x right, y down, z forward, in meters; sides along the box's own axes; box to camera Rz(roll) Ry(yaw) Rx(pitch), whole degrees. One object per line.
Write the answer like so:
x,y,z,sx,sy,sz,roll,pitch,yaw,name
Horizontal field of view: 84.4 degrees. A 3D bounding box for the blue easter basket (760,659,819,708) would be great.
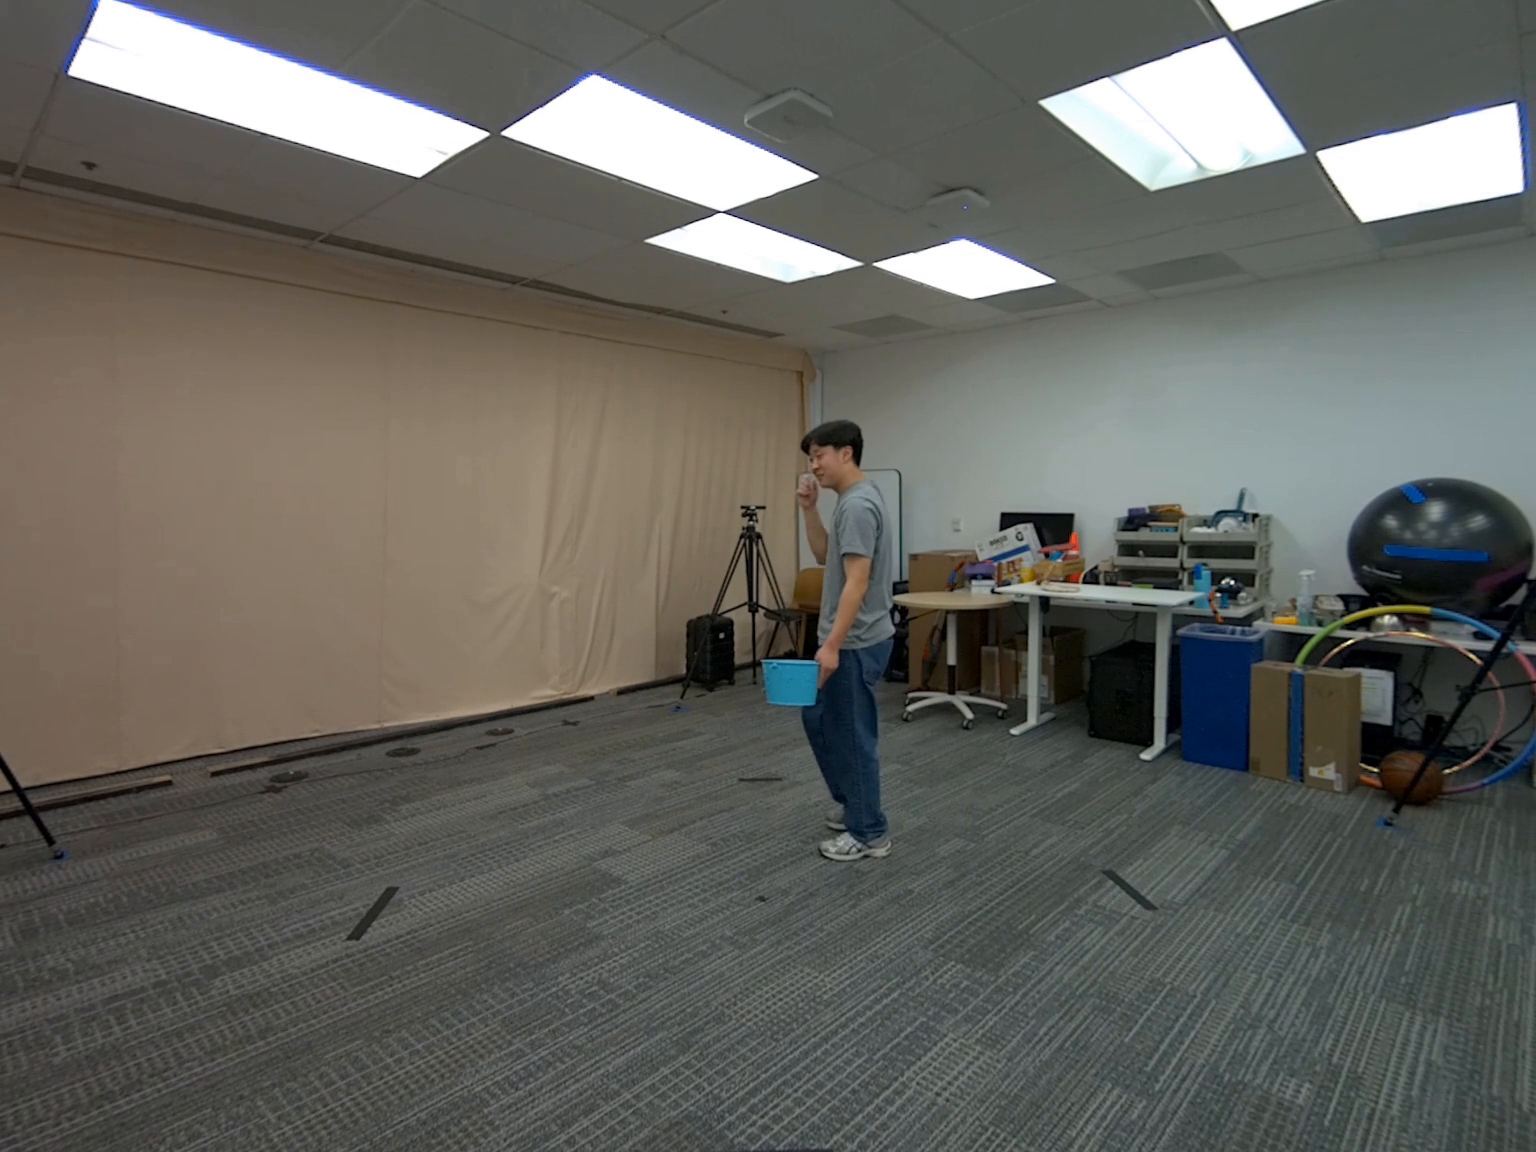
0.104,0.400,3.123,0.243,0.156,0.243,1,-3,-2,blue easter basket
